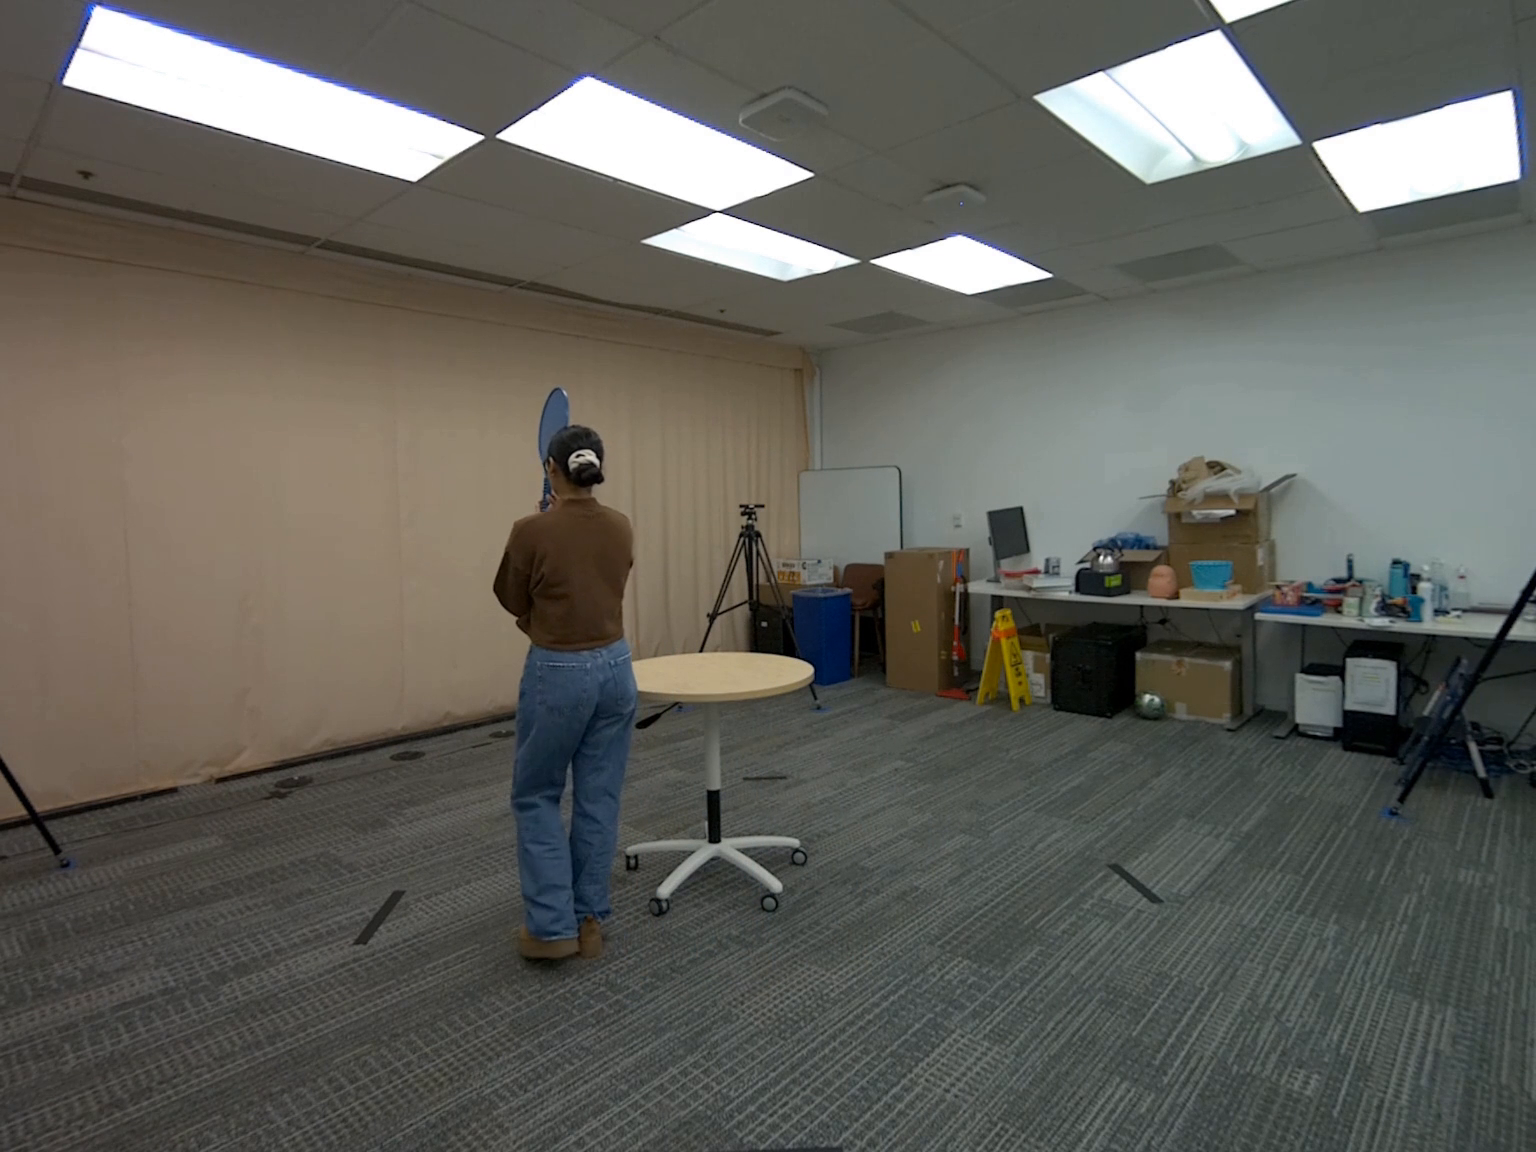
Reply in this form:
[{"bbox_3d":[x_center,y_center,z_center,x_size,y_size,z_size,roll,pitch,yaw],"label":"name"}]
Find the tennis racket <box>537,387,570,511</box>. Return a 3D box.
[{"bbox_3d":[-0.720,-0.420,2.804,0.031,0.435,0.219,6,-10,-37],"label":"tennis racket"}]
